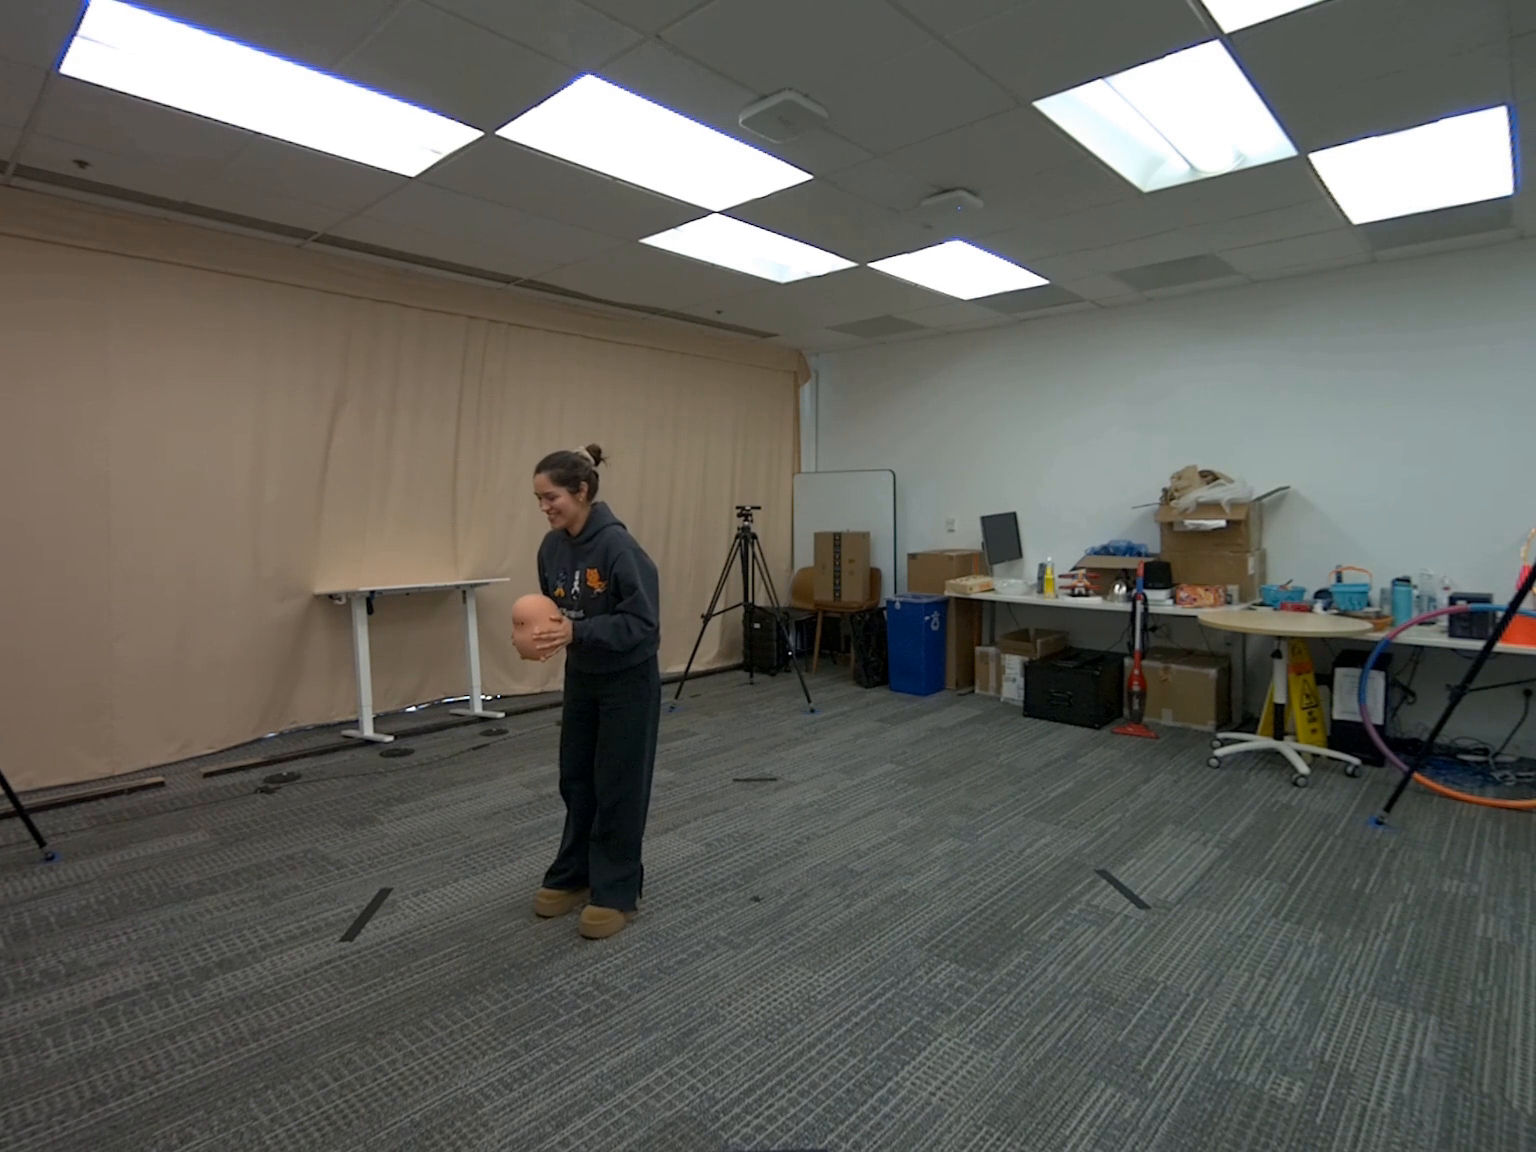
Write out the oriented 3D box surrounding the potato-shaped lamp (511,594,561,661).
[{"bbox_3d":[-0.723,0.164,2.680,0.170,0.194,0.169,0,29,42],"label":"potato-shaped lamp"}]
